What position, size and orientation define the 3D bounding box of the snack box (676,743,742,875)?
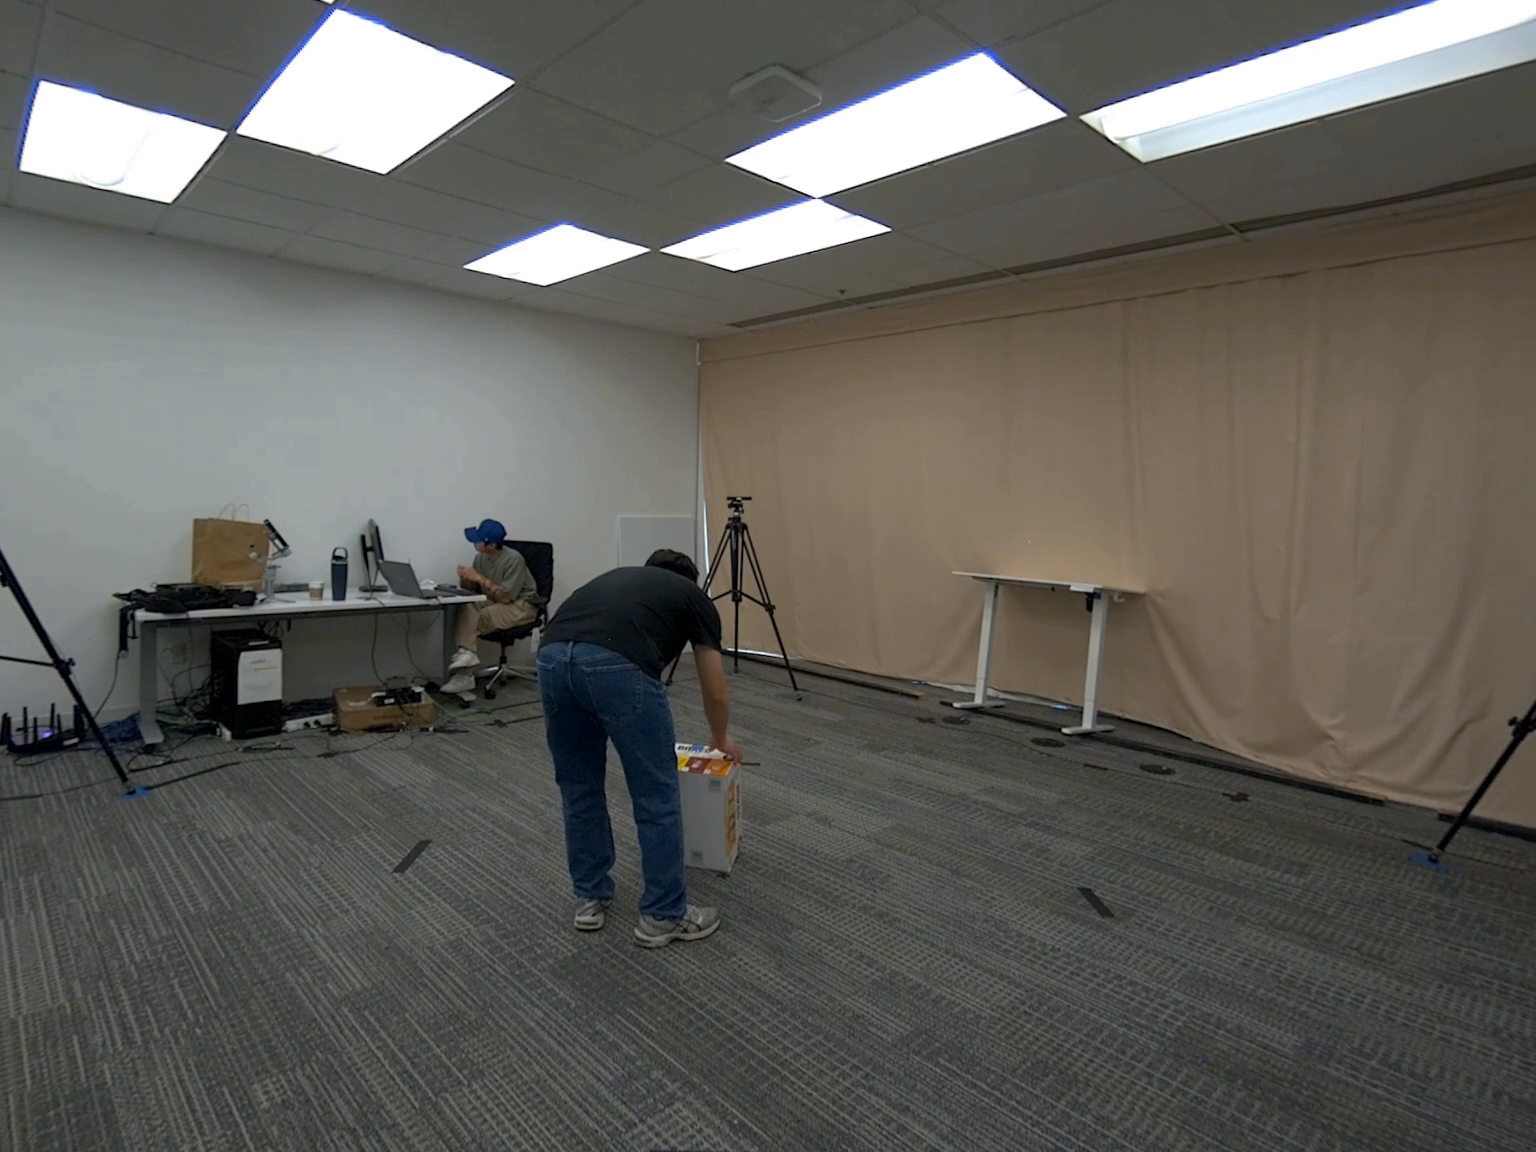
[{"bbox_3d":[-0.292,0.879,3.218,0.344,0.401,0.205,3,15,15],"label":"snack box"}]
